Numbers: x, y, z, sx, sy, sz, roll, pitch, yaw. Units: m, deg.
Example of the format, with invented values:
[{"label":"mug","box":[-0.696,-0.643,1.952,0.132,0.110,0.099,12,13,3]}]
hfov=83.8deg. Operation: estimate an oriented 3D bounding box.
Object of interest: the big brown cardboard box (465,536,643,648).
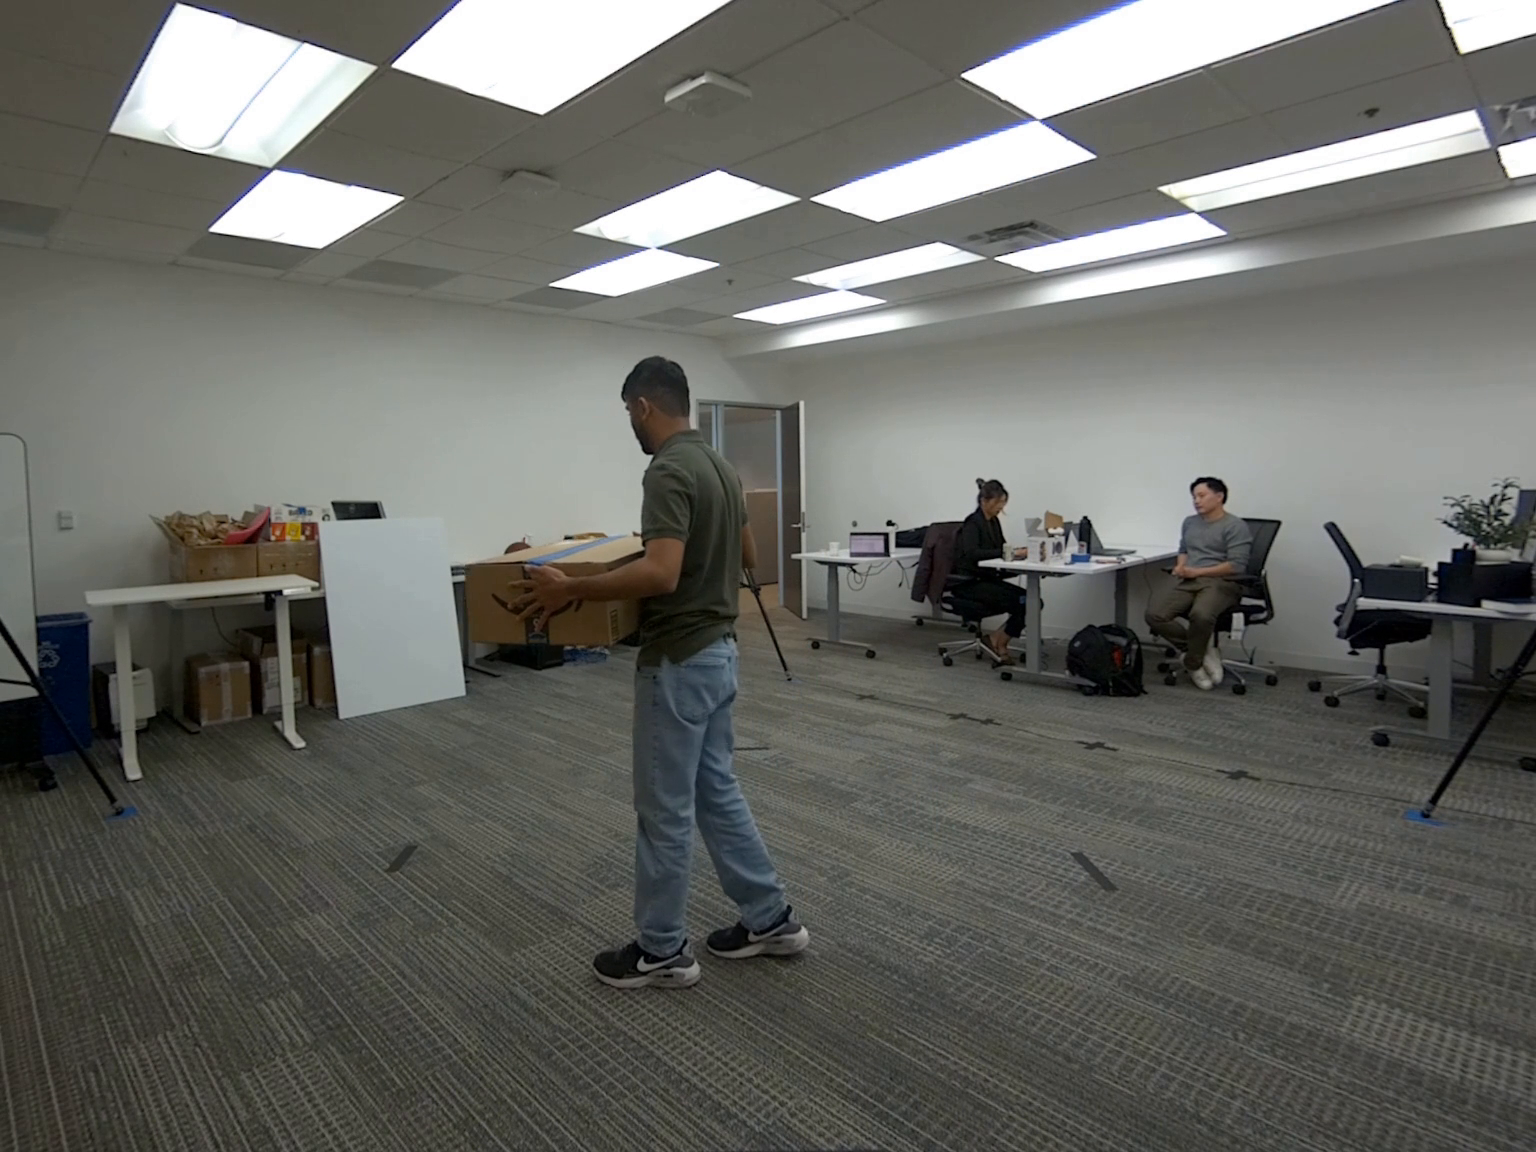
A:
[{"label":"big brown cardboard box","box":[-0.531,0.021,2.494,0.424,0.231,0.585,-1,9,15]}]
